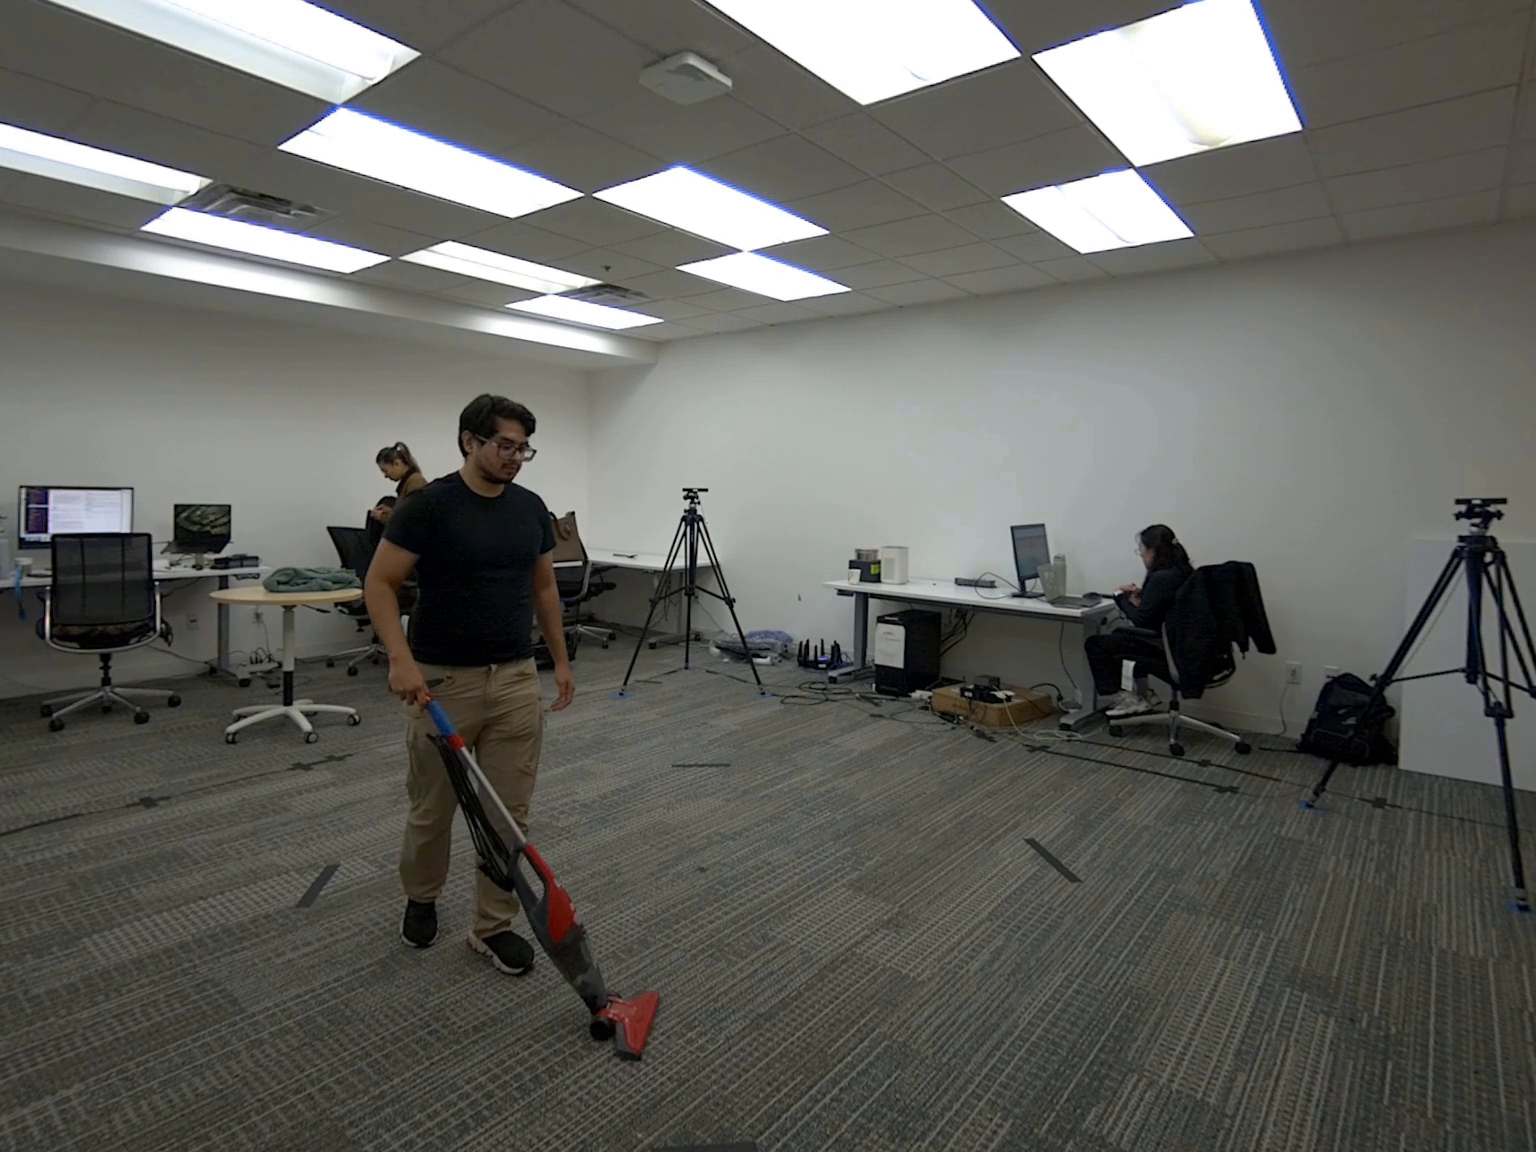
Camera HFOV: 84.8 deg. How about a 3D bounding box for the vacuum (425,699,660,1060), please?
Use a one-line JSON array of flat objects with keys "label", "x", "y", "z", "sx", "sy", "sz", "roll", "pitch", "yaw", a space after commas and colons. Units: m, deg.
[{"label": "vacuum", "x": -0.665, "y": 0.718, "z": 2.213, "sx": 0.144, "sy": 1.054, "sz": 0.250, "roll": -34, "pitch": -3, "yaw": 10}]
